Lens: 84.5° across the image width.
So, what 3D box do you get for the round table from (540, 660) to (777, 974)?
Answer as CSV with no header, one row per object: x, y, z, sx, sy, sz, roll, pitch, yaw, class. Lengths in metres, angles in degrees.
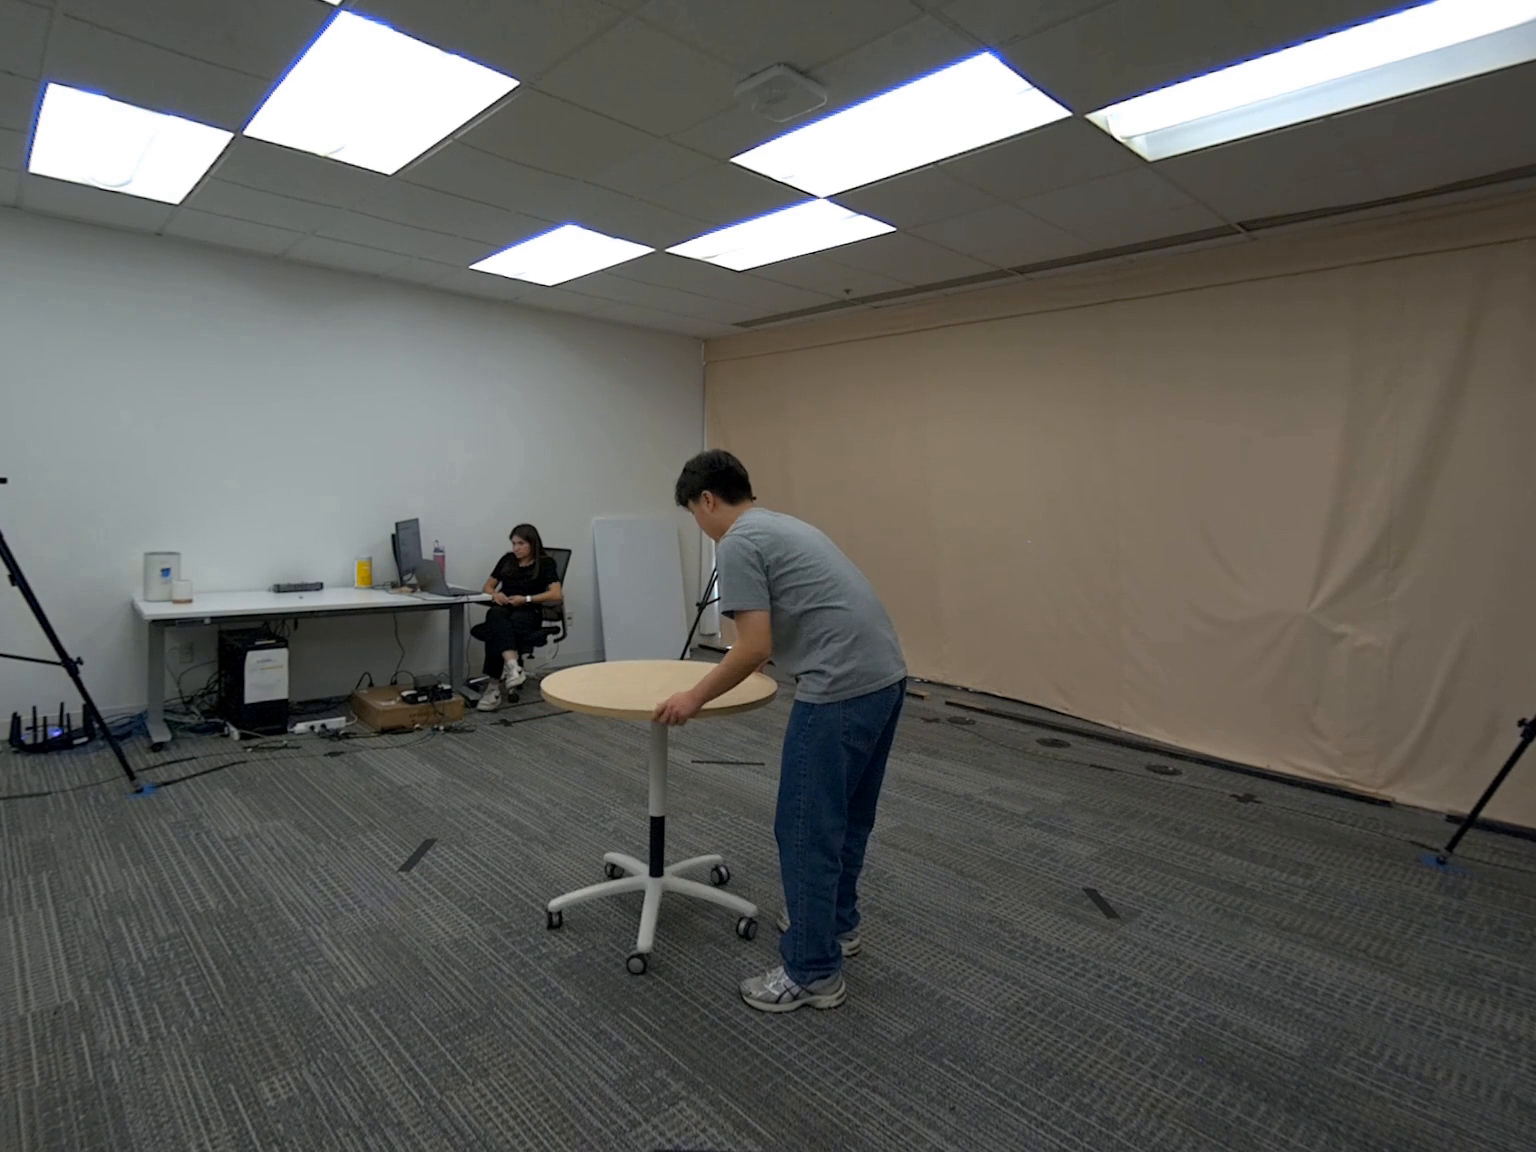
-0.364,0.740,2.773,0.763,0.792,0.766,1,4,-1,round table
